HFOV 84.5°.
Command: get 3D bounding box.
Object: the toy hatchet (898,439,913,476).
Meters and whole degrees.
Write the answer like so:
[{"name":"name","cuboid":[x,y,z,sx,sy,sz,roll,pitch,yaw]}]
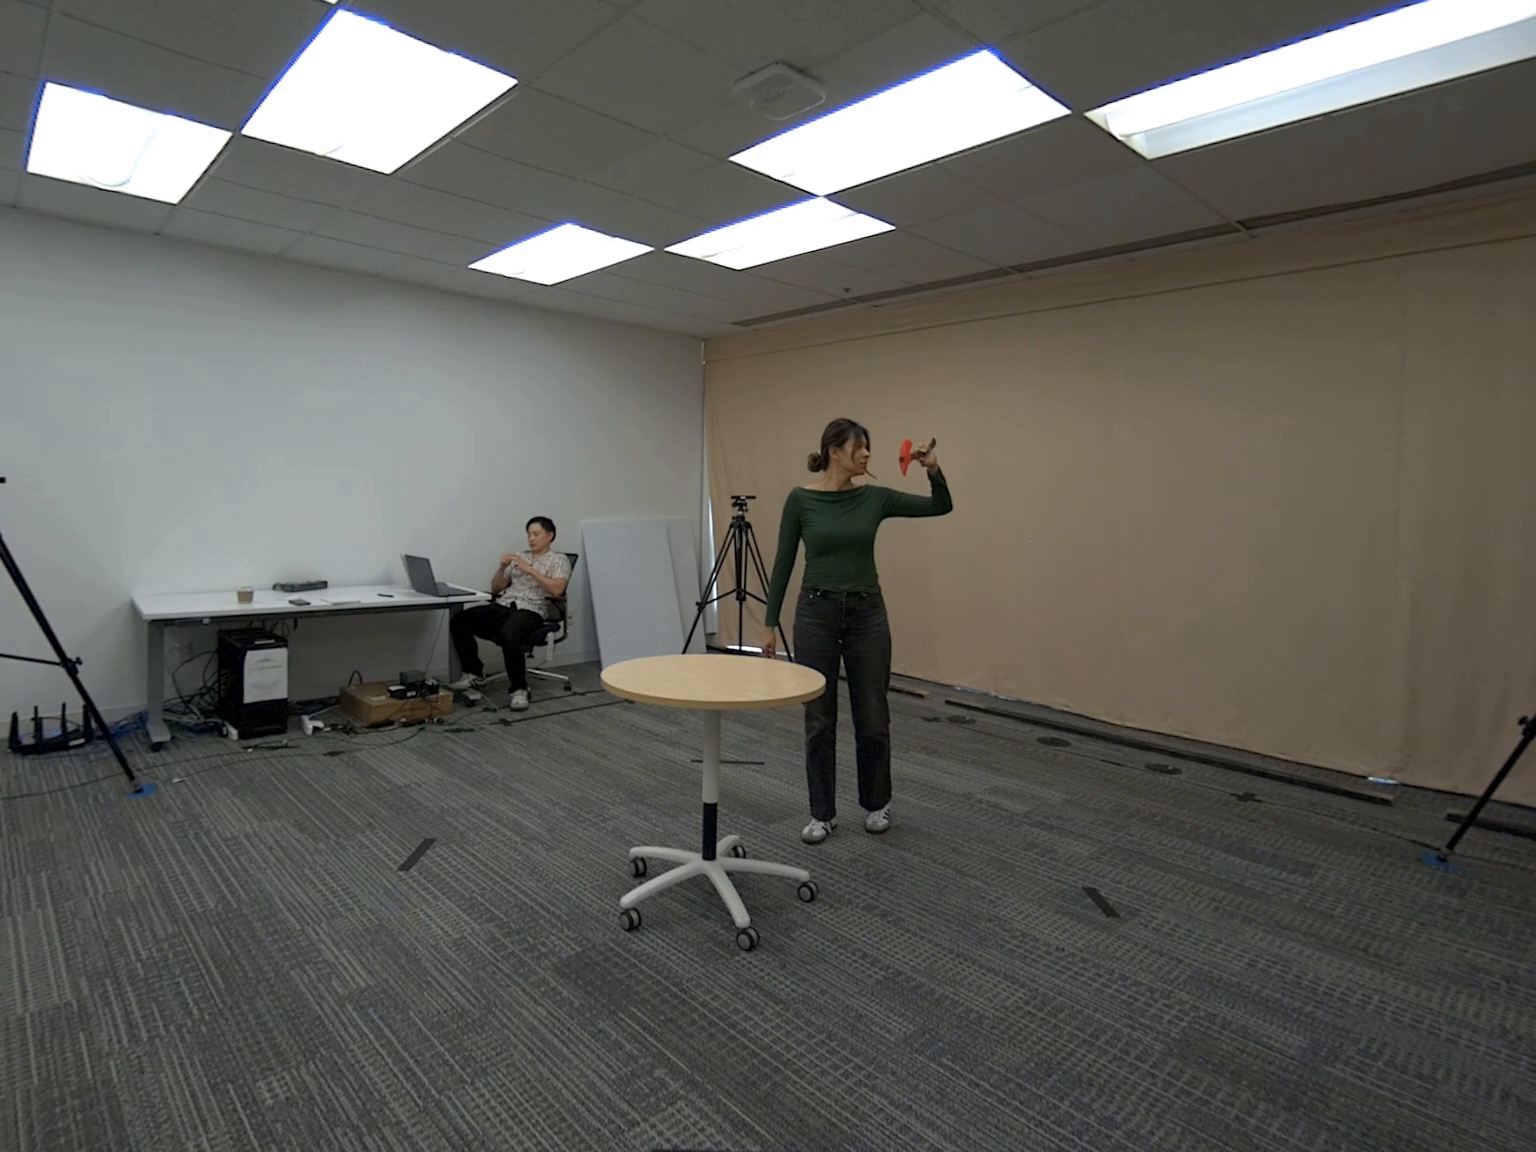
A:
[{"name":"toy hatchet","cuboid":[0.553,-0.493,3.175,0.030,0.128,0.269,4,34,38]}]
